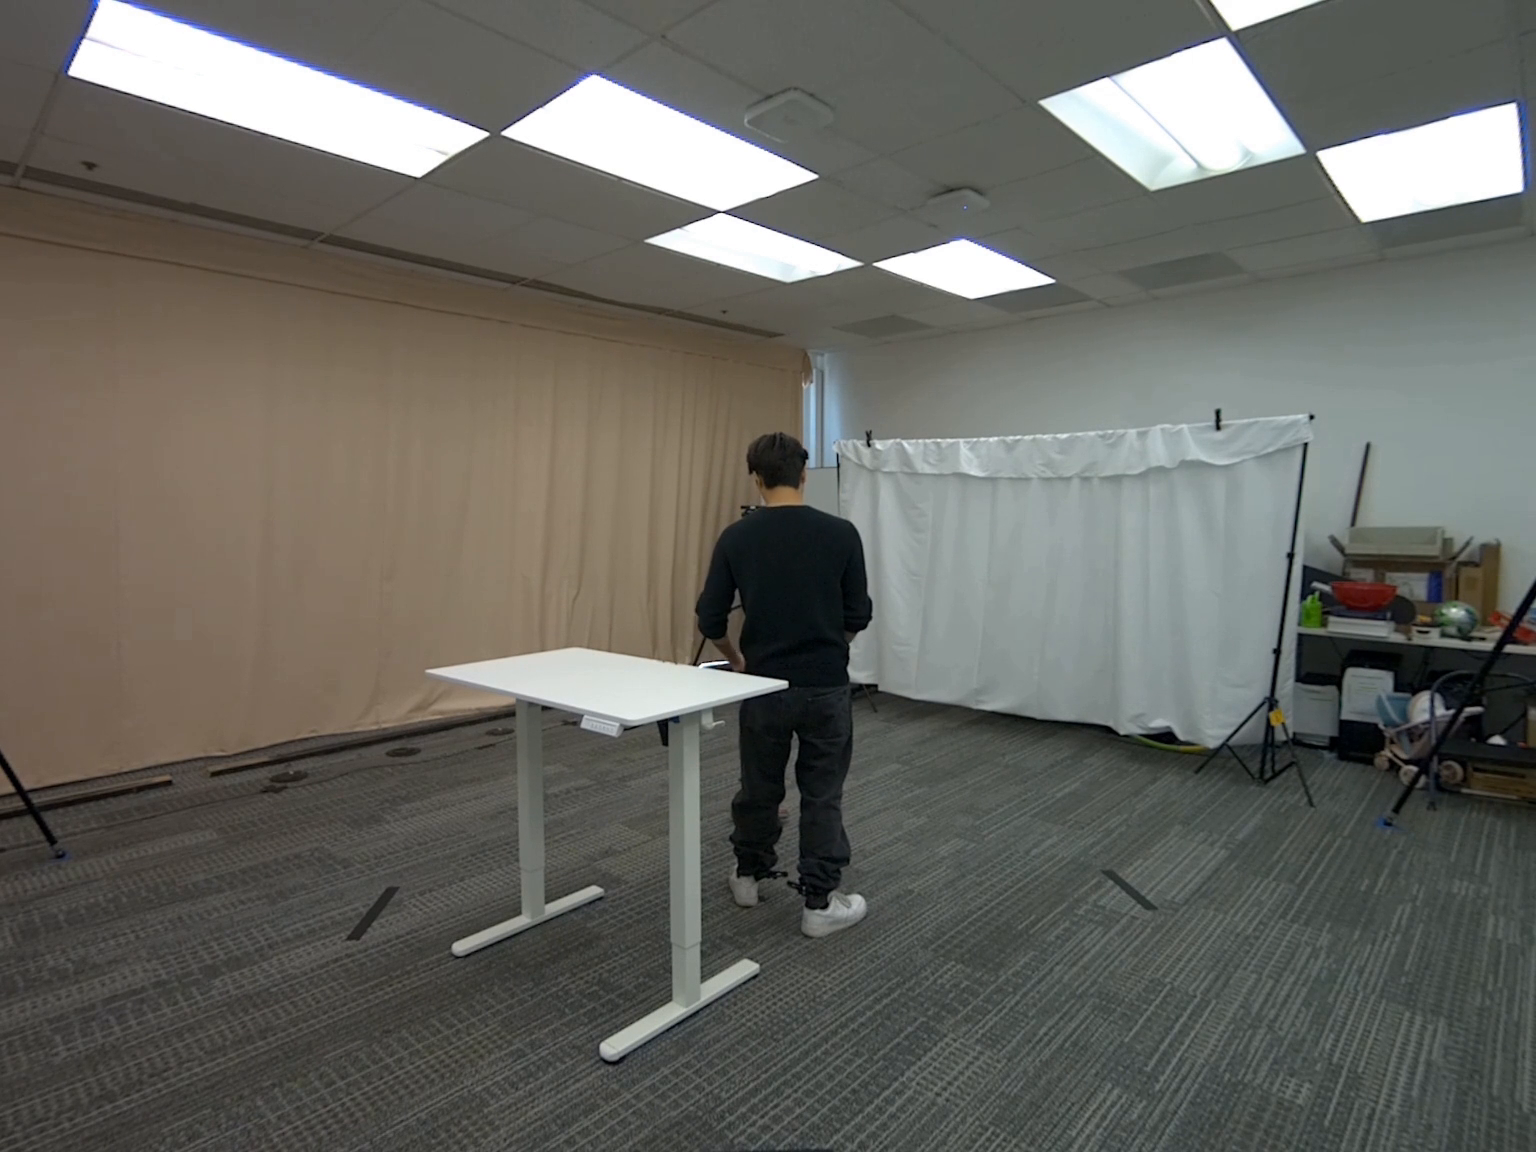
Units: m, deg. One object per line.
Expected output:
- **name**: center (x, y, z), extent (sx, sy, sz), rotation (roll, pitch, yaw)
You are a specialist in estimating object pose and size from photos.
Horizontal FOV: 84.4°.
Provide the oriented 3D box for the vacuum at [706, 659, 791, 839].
- **vacuum**: center (-0.062, 0.709, 3.319), extent (0.254, 1.026, 0.146), rotation (-1, 45, 3)
